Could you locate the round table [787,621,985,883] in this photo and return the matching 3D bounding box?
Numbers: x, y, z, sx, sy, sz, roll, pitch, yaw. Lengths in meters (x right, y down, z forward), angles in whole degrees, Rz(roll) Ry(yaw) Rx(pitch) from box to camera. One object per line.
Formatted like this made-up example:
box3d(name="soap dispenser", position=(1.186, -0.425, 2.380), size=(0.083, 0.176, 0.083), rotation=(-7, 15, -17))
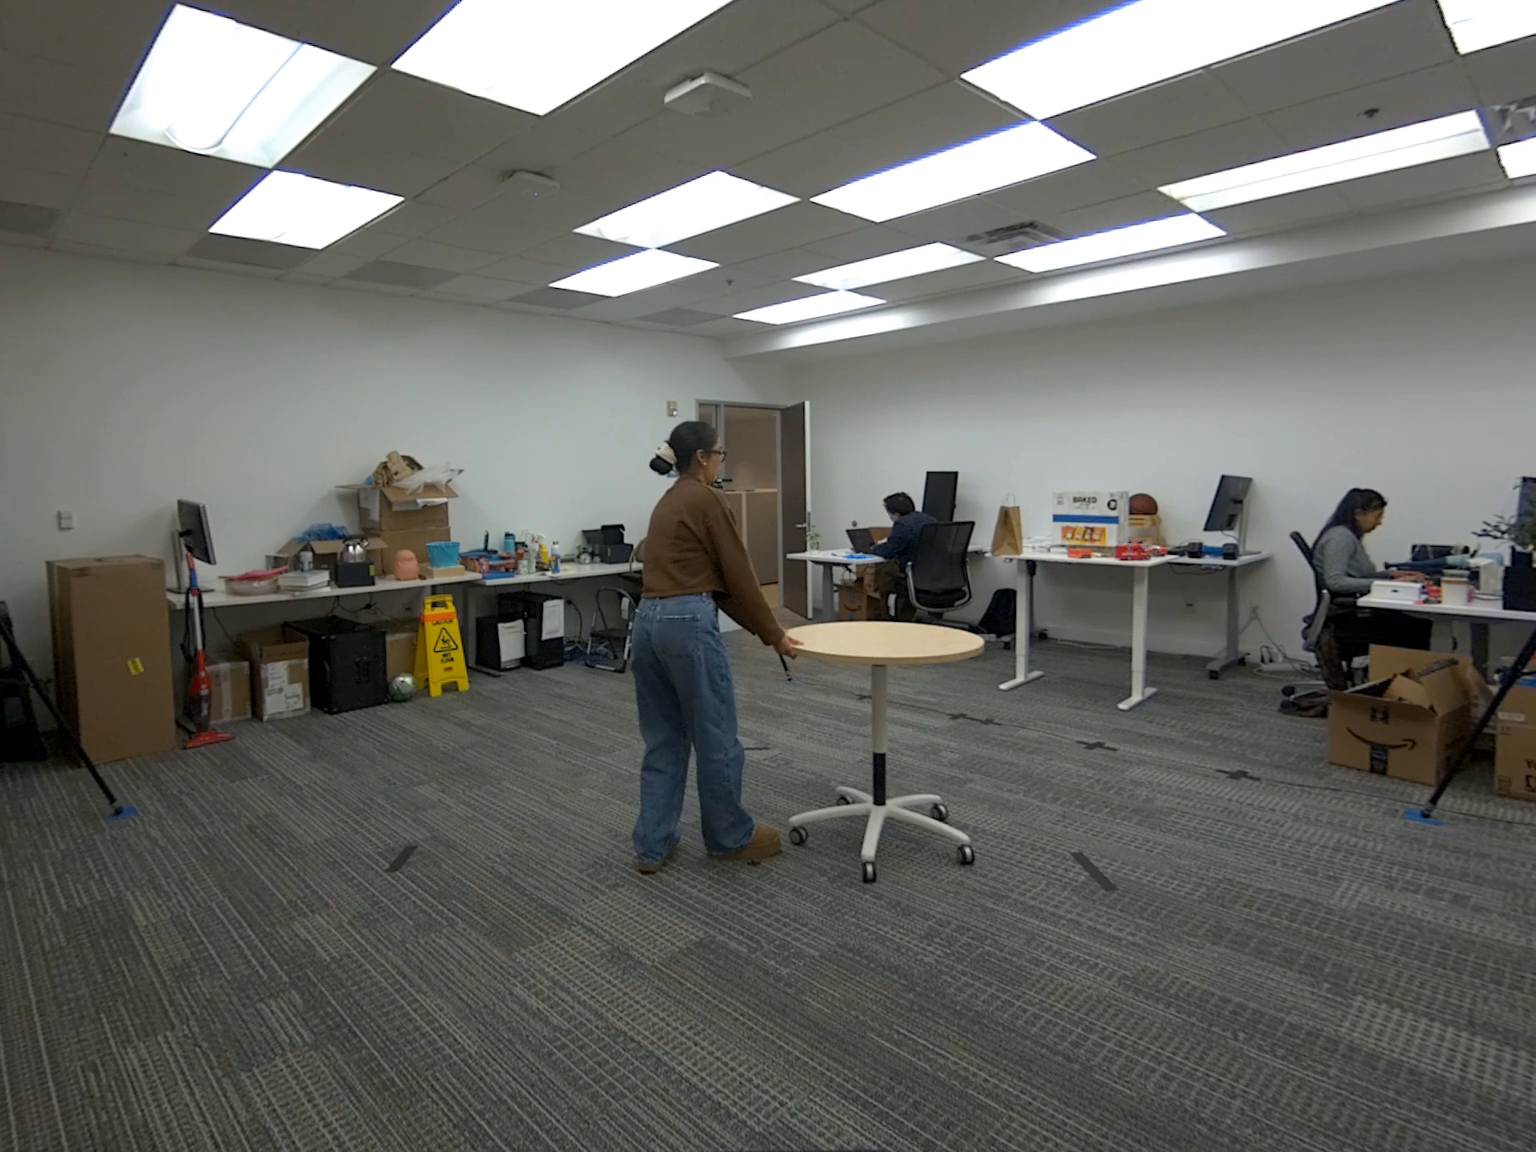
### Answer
box3d(name="round table", position=(0.405, 0.624, 3.255), size=(0.784, 0.784, 0.789), rotation=(-1, 5, -2))
